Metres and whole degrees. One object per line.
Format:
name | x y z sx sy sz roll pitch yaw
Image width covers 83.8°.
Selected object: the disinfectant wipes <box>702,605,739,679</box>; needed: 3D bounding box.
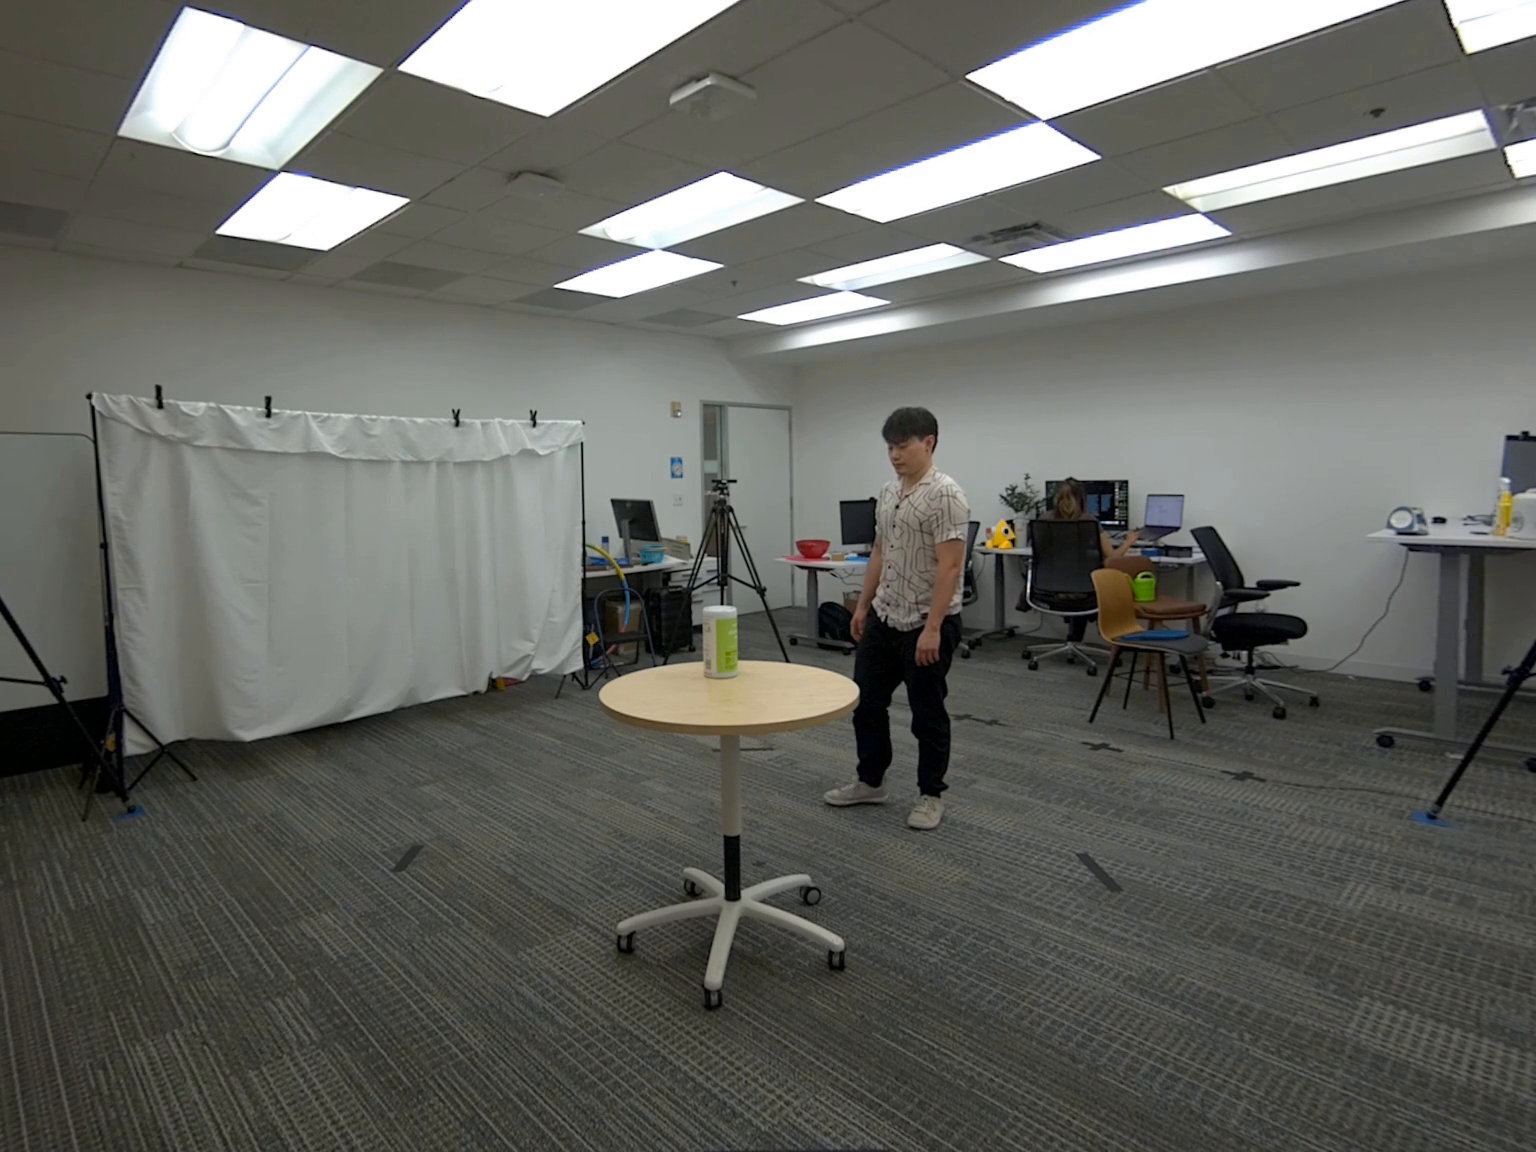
disinfectant wipes | -0.150 0.209 2.699 0.118 0.217 0.118 0 3 -2
